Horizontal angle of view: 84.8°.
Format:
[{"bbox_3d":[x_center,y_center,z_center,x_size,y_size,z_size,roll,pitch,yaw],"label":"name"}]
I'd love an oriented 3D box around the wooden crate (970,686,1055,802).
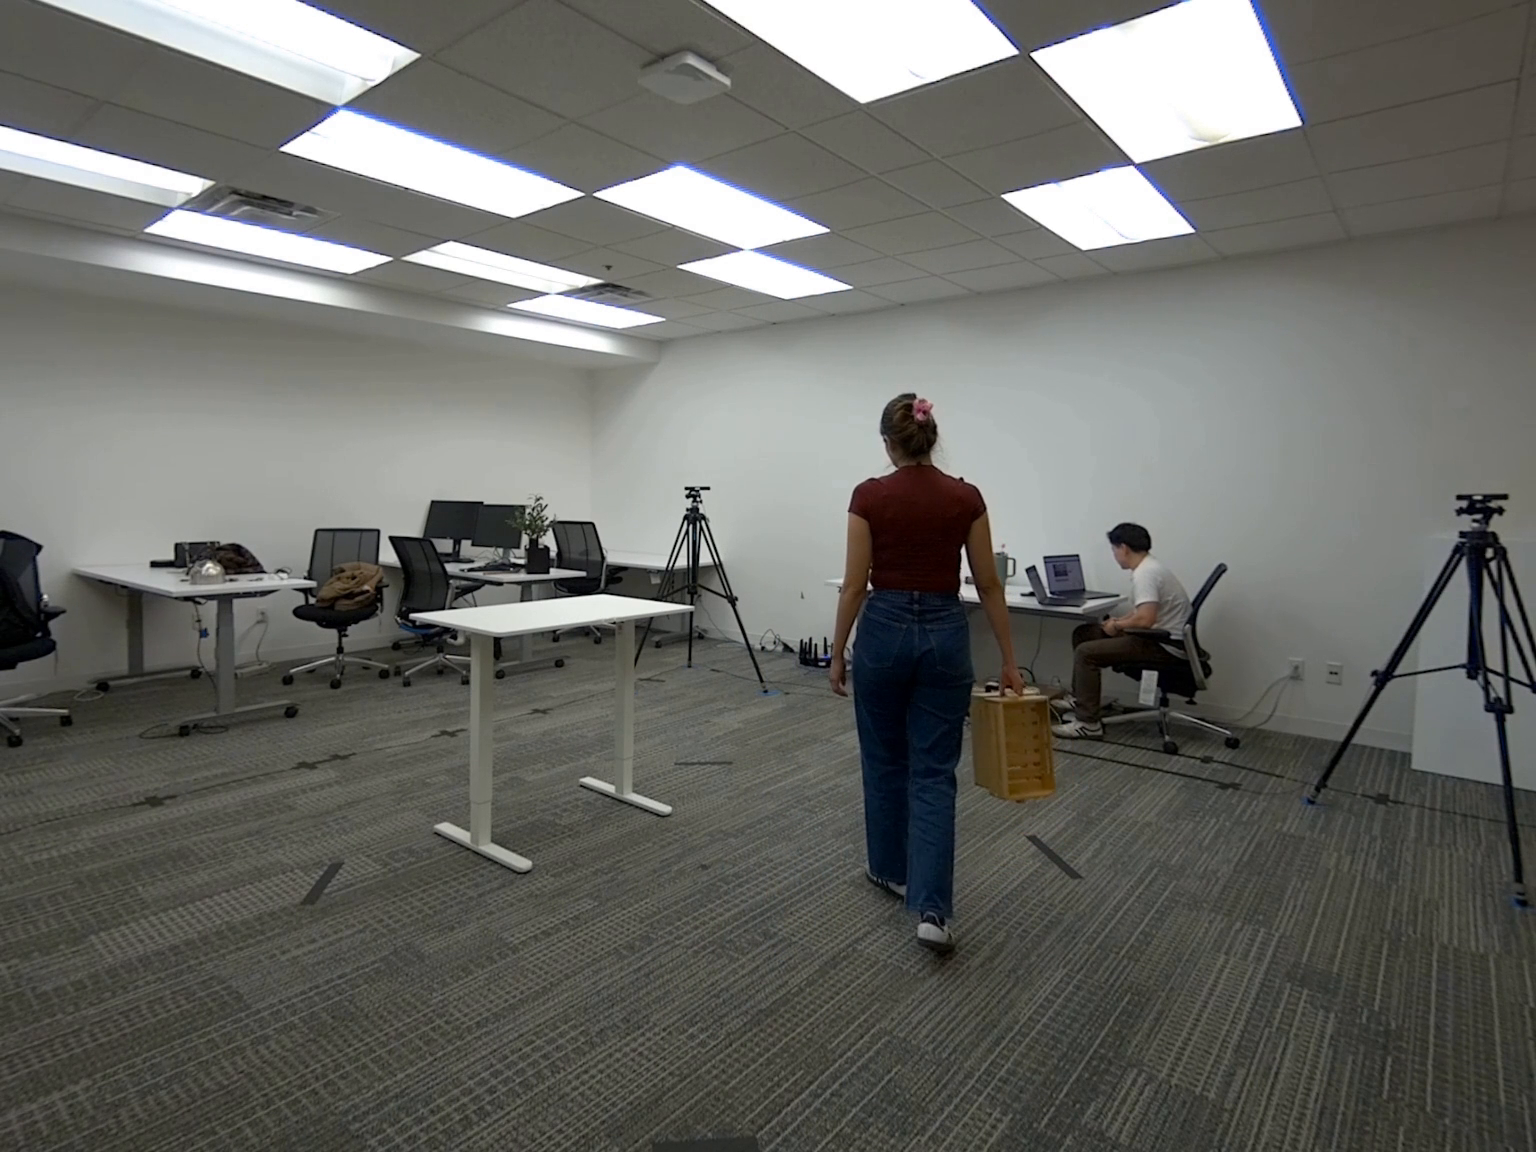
[{"bbox_3d":[0.821,0.544,2.773,0.297,0.326,0.276,-2,-5,-16],"label":"wooden crate"}]
